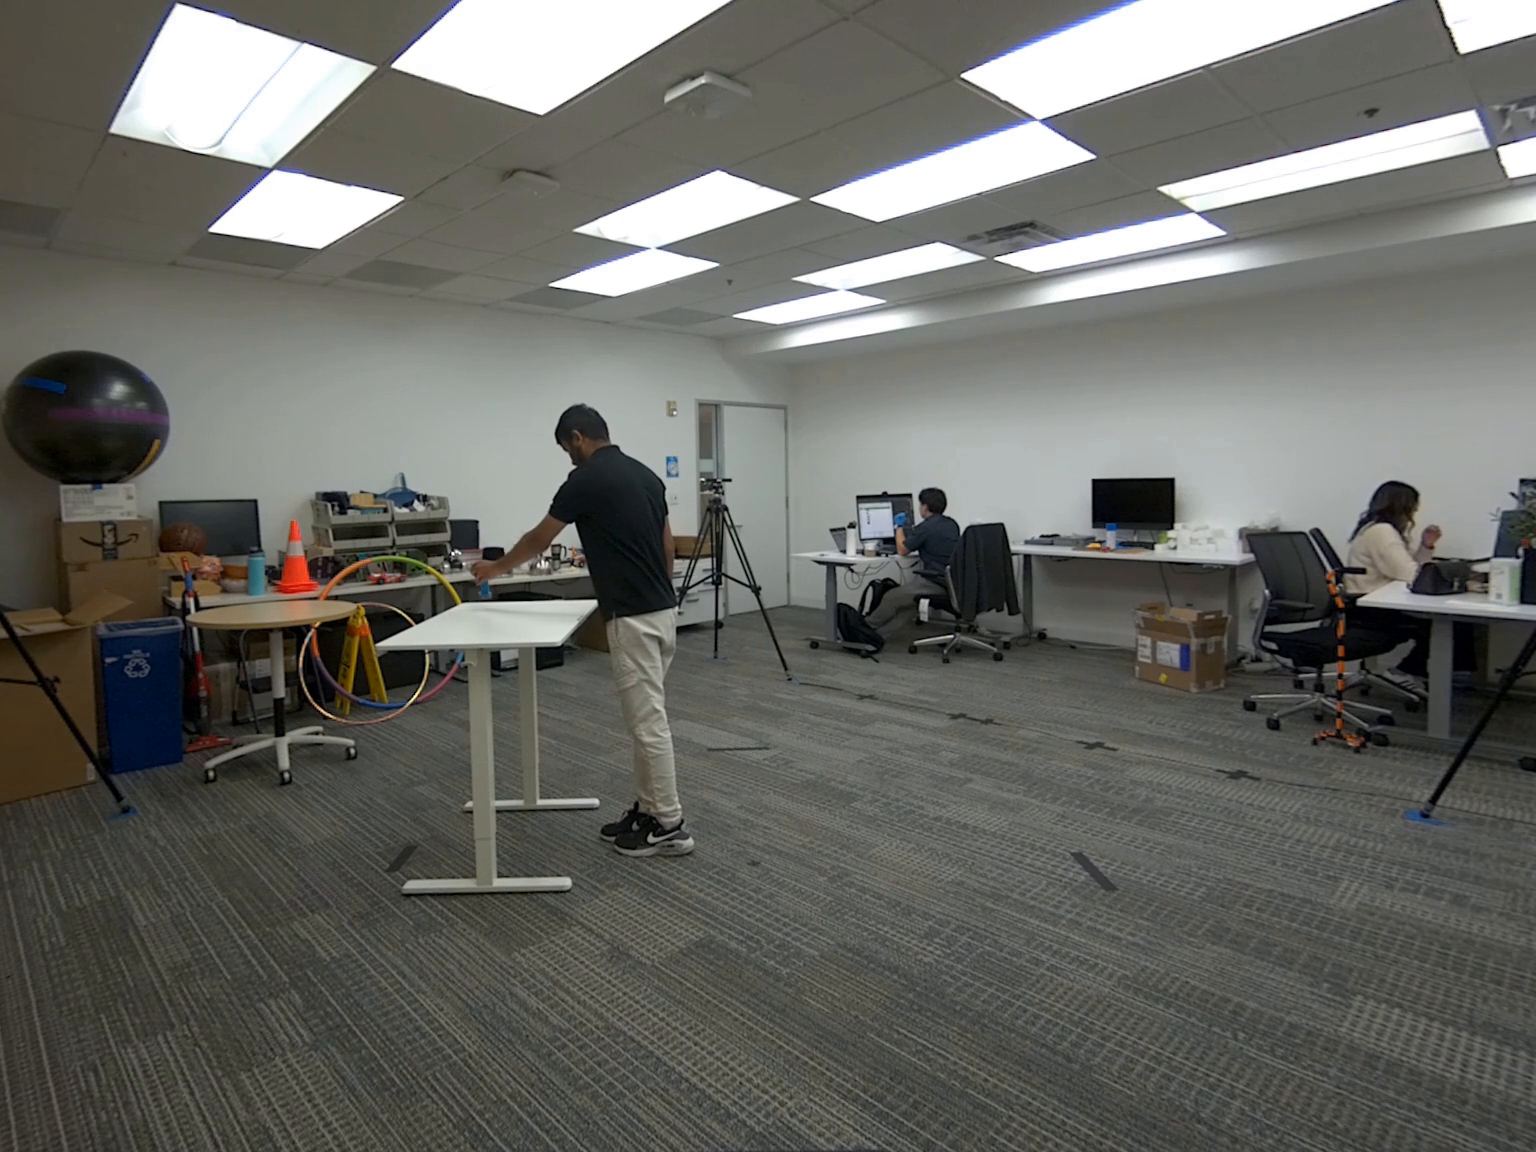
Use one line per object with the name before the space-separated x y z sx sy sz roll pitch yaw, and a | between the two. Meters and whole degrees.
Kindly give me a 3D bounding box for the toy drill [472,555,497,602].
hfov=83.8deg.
toy drill | -1.176 0.005 3.543 0.060 0.144 0.175 -5 16 -26
